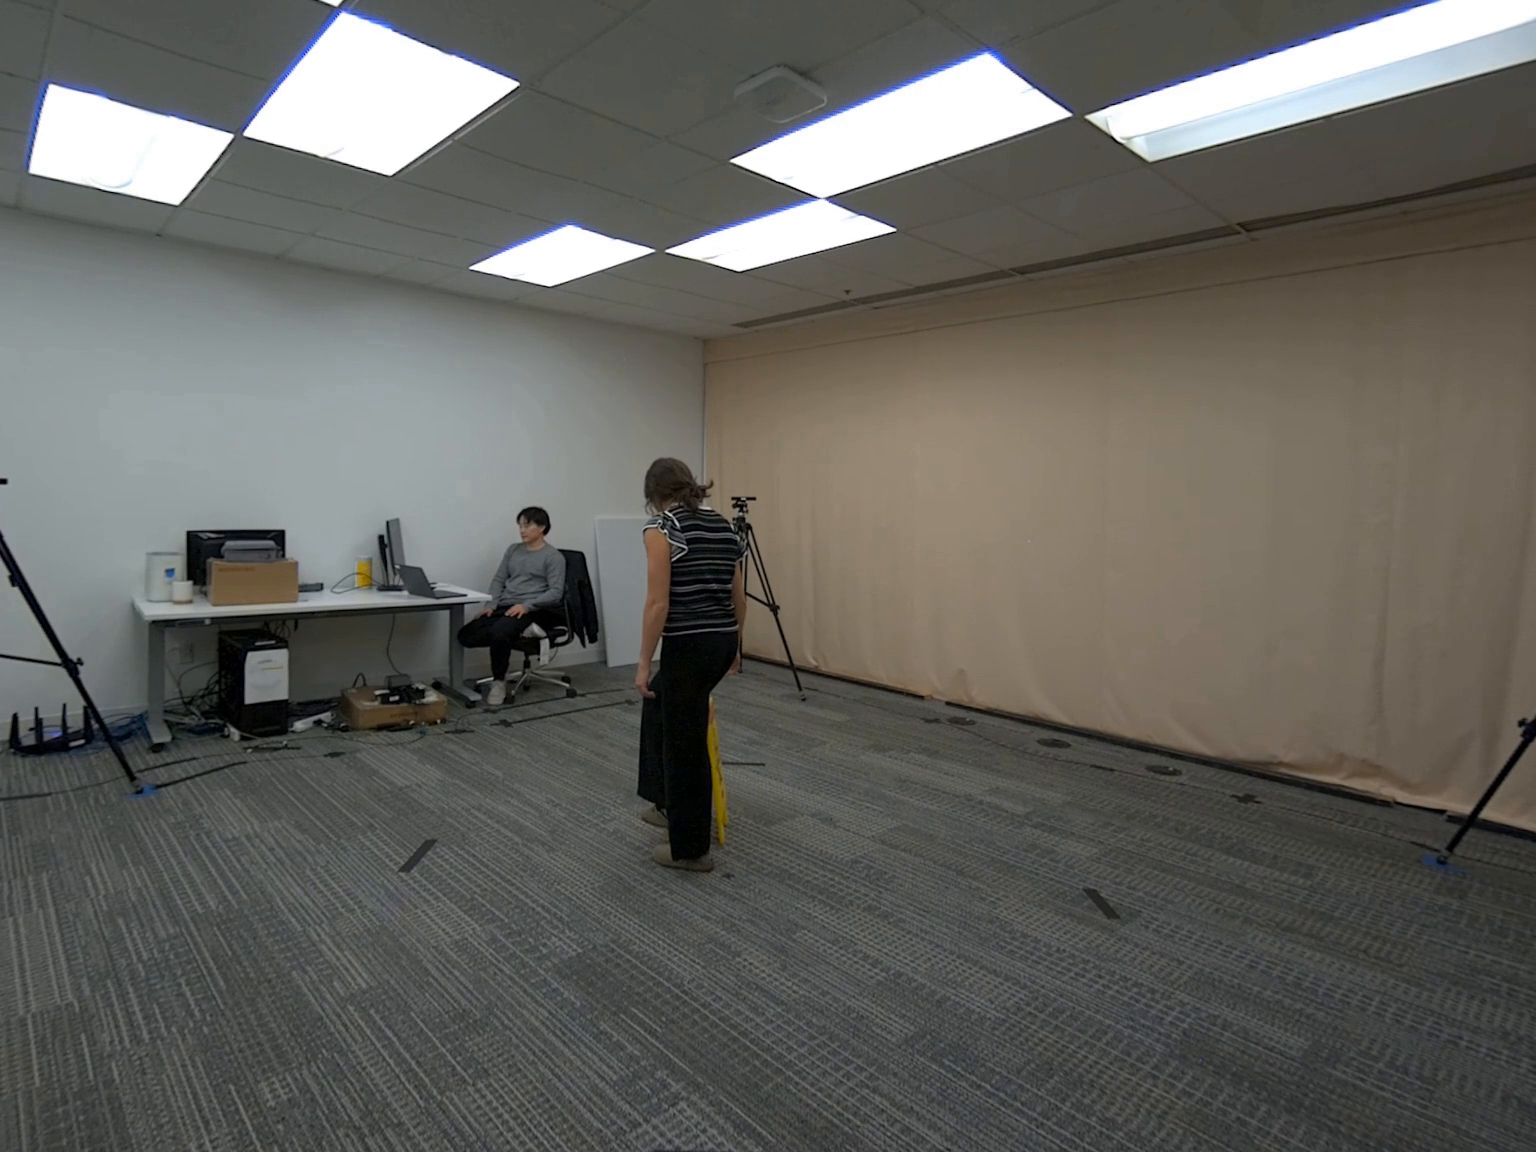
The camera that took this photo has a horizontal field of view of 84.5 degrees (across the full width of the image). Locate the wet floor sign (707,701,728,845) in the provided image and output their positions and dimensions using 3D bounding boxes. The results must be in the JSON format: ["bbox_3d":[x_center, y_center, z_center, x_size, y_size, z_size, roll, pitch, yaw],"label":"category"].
[{"bbox_3d":[-0.287,0.745,3.509,0.290,0.644,0.282,4,4,2],"label":"wet floor sign"}]
